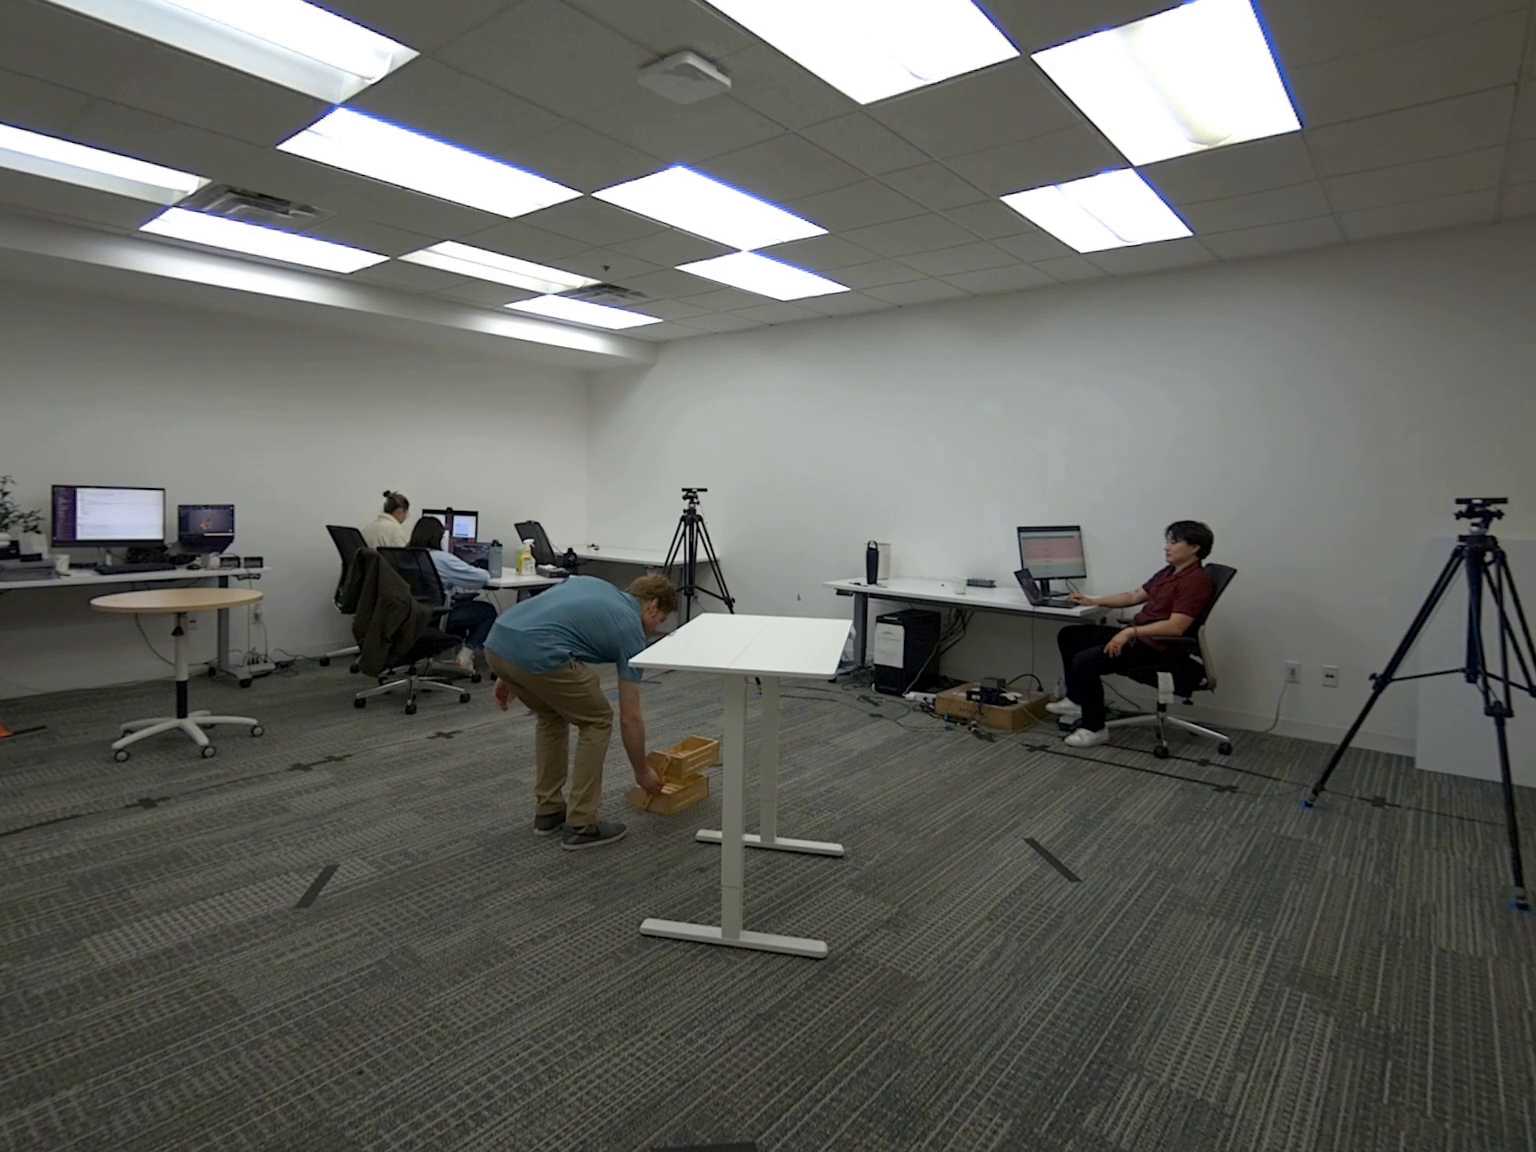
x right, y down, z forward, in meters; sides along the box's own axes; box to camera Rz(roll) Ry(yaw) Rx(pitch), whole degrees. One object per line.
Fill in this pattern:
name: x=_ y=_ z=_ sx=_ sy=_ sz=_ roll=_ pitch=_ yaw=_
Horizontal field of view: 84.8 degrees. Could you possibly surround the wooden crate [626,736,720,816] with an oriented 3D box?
wooden crate: x=-0.444 y=0.867 z=3.788 sx=0.311 sy=0.272 sz=0.316 roll=4 pitch=5 yaw=31
